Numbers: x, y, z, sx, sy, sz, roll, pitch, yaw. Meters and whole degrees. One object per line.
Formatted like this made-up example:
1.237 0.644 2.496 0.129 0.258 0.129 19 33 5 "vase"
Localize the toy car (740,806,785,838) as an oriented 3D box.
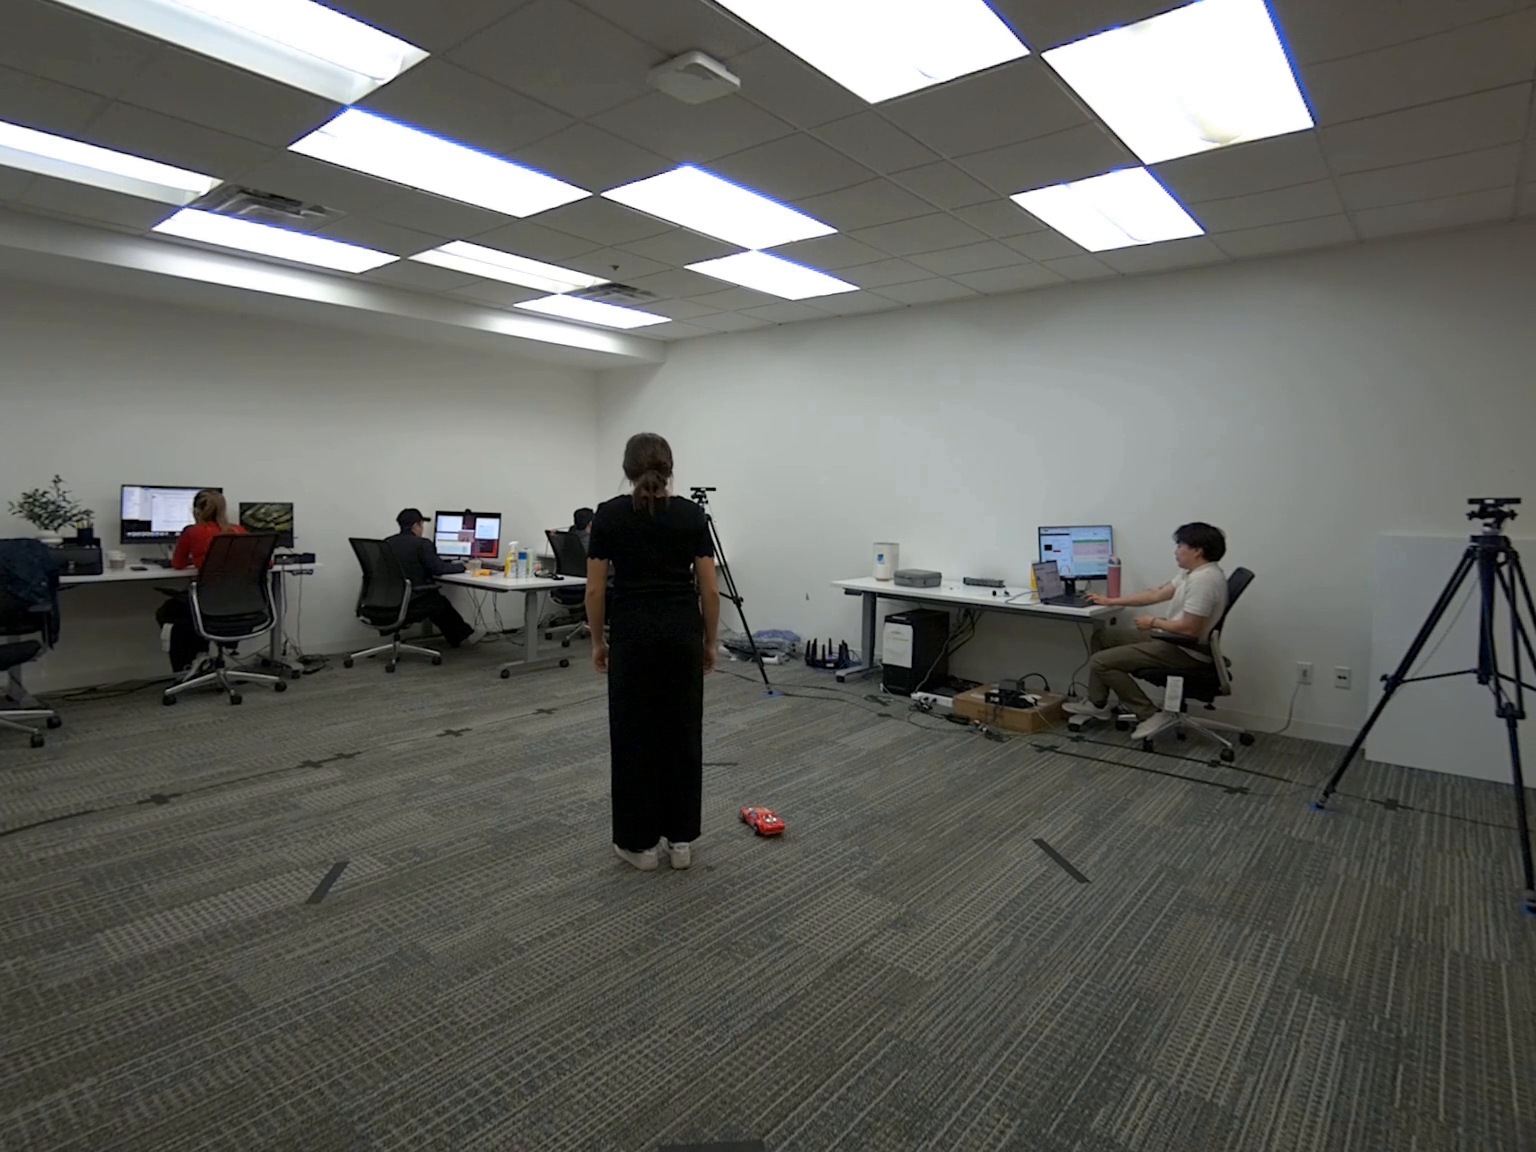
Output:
-0.027 1.002 3.485 0.127 0.084 0.259 -1 -5 -25 "toy car"
